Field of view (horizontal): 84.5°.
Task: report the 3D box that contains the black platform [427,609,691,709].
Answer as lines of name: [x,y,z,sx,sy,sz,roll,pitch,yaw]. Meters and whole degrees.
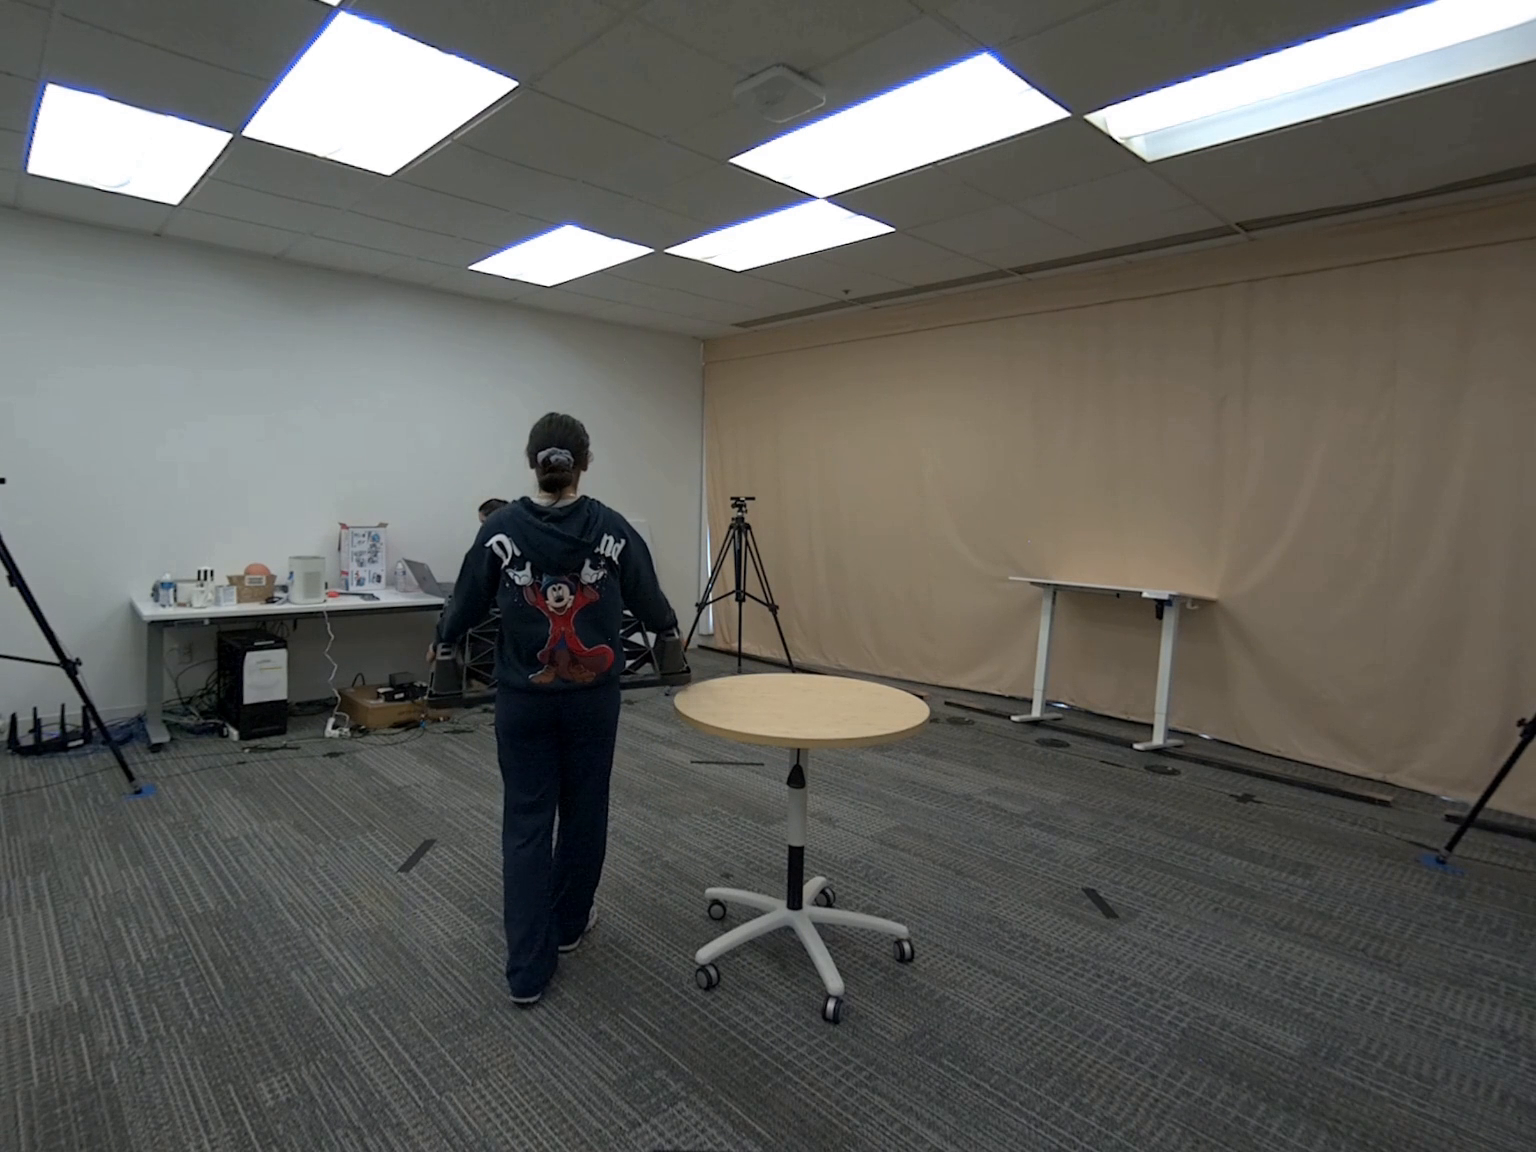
black platform: [-0.695,0.192,2.809,0.797,0.141,0.620,-3,24,-14]
